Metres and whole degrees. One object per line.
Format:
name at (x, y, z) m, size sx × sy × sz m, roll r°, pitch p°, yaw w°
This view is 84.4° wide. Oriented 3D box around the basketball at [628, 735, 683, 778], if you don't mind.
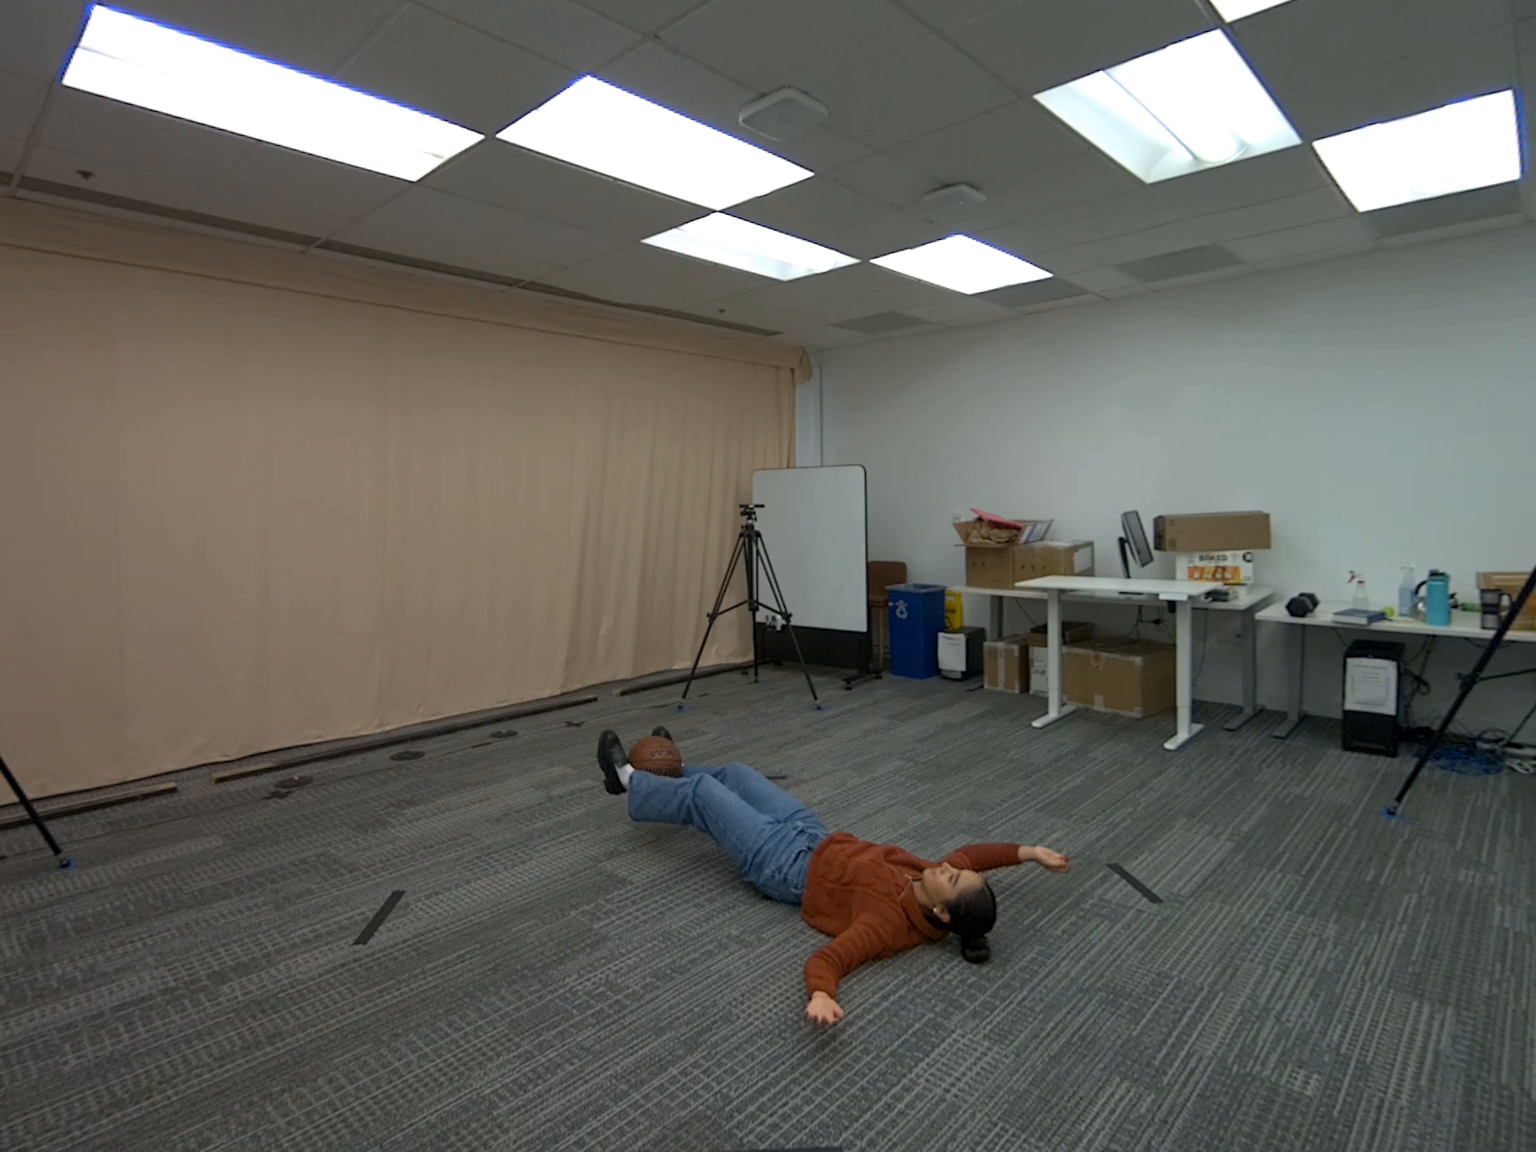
basketball at (-0.488, 0.801, 3.564) m, size 0.235 × 0.235 × 0.237 m, roll 2°, pitch 5°, yaw -2°
